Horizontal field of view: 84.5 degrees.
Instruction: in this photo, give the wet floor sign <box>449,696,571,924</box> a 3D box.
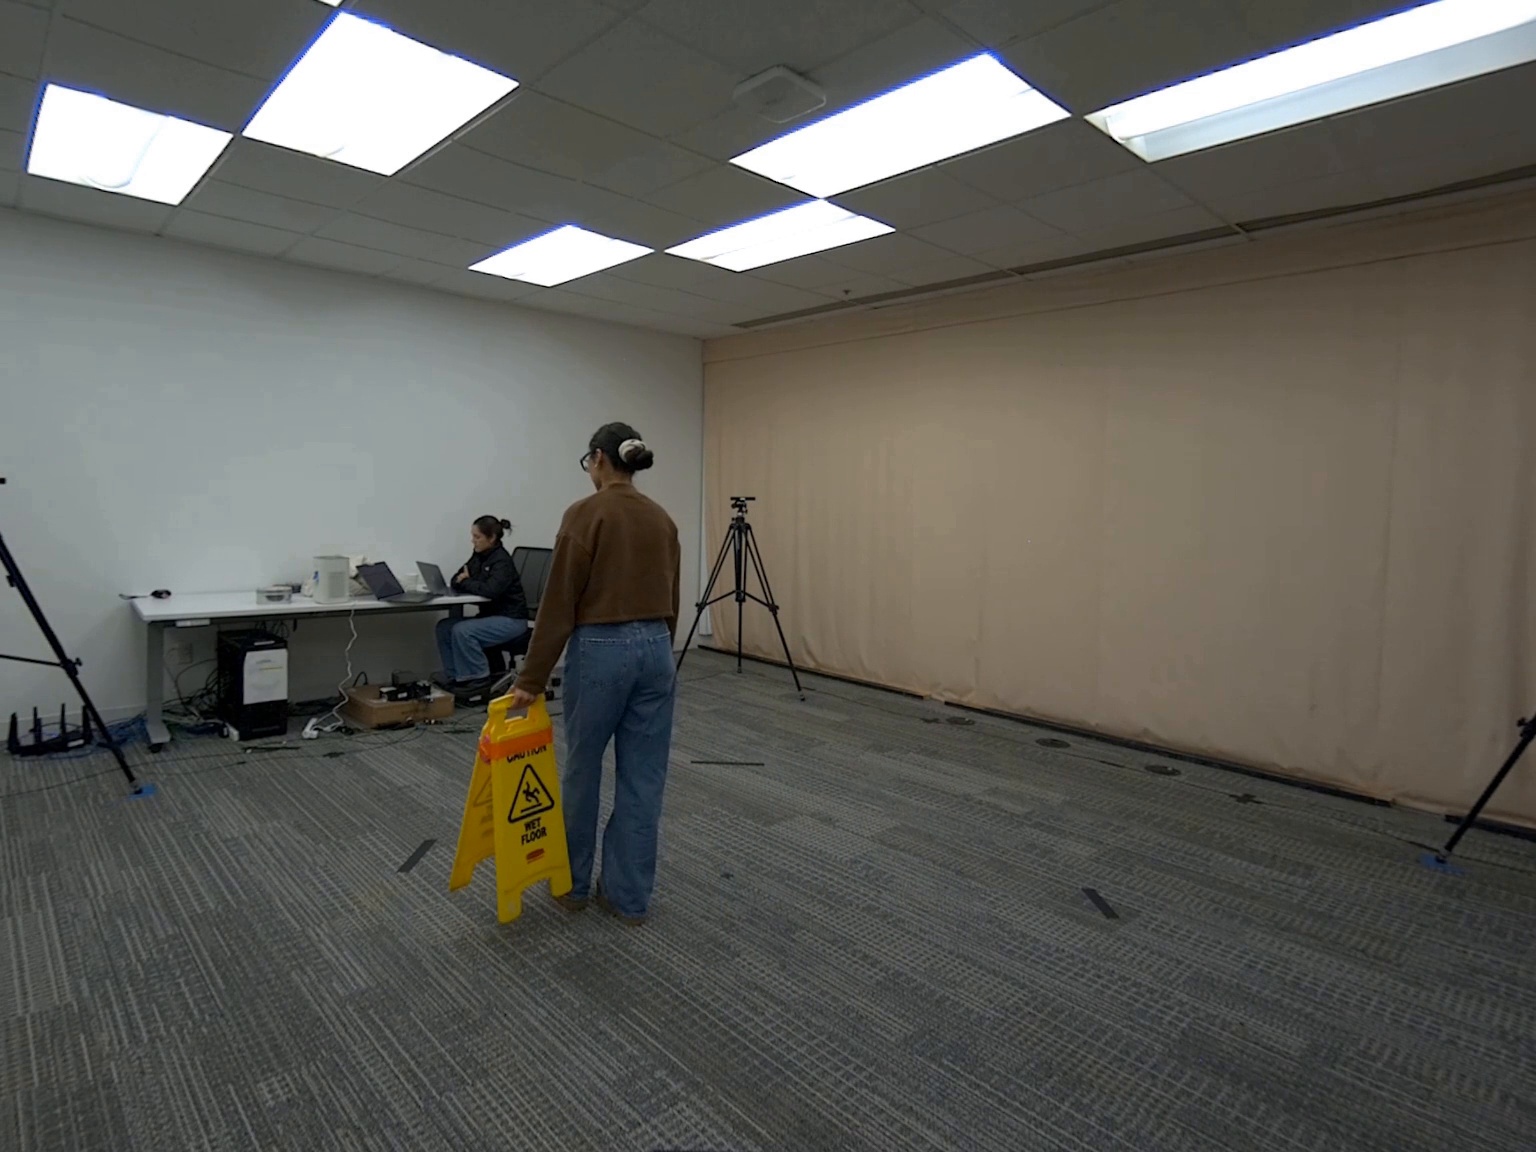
[{"bbox_3d":[-0.807,0.694,2.644,0.297,0.643,0.276,10,9,35],"label":"wet floor sign"}]
